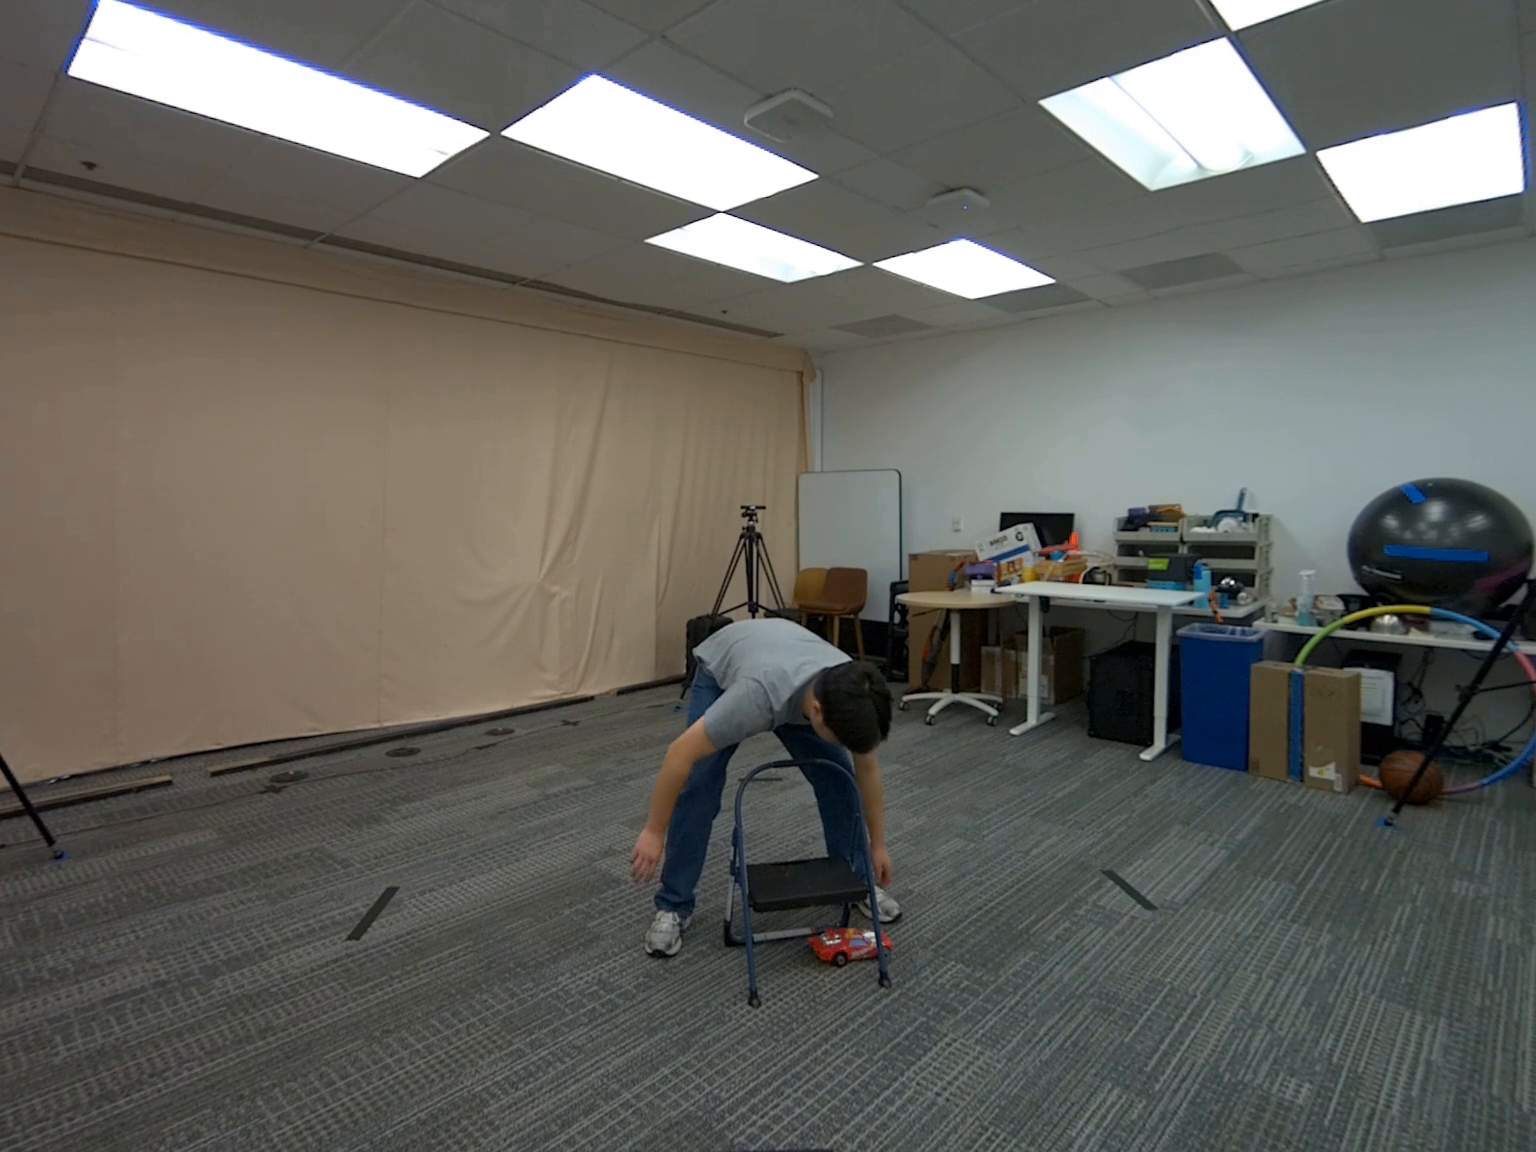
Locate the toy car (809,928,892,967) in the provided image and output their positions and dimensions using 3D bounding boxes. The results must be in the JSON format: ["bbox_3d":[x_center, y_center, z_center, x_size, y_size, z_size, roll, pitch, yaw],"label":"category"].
[{"bbox_3d":[0.251,1.147,2.596,0.250,0.083,0.132,9,2,-14],"label":"toy car"}]
